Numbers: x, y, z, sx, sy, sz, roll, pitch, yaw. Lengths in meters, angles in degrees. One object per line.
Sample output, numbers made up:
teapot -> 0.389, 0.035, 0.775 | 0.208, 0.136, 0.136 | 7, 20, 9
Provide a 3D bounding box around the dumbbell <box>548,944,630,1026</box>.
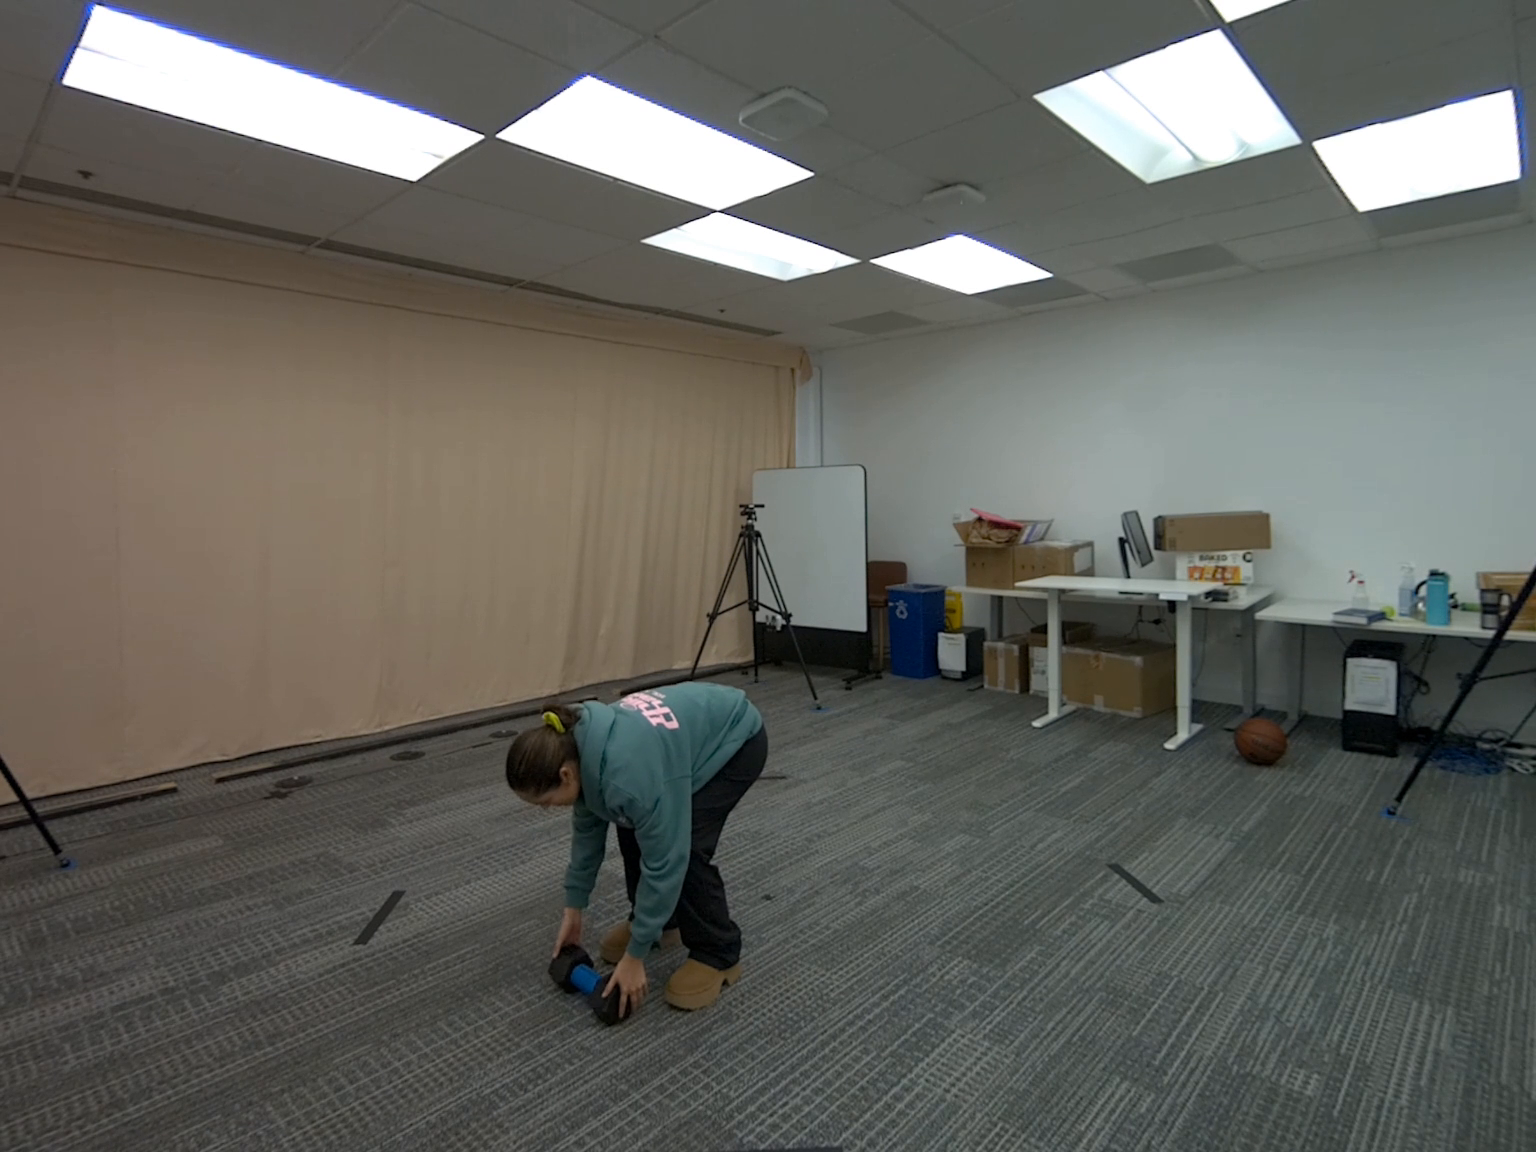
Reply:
dumbbell -> -0.487, 1.143, 2.380 | 0.303, 0.120, 0.107 | 2, 35, 47
